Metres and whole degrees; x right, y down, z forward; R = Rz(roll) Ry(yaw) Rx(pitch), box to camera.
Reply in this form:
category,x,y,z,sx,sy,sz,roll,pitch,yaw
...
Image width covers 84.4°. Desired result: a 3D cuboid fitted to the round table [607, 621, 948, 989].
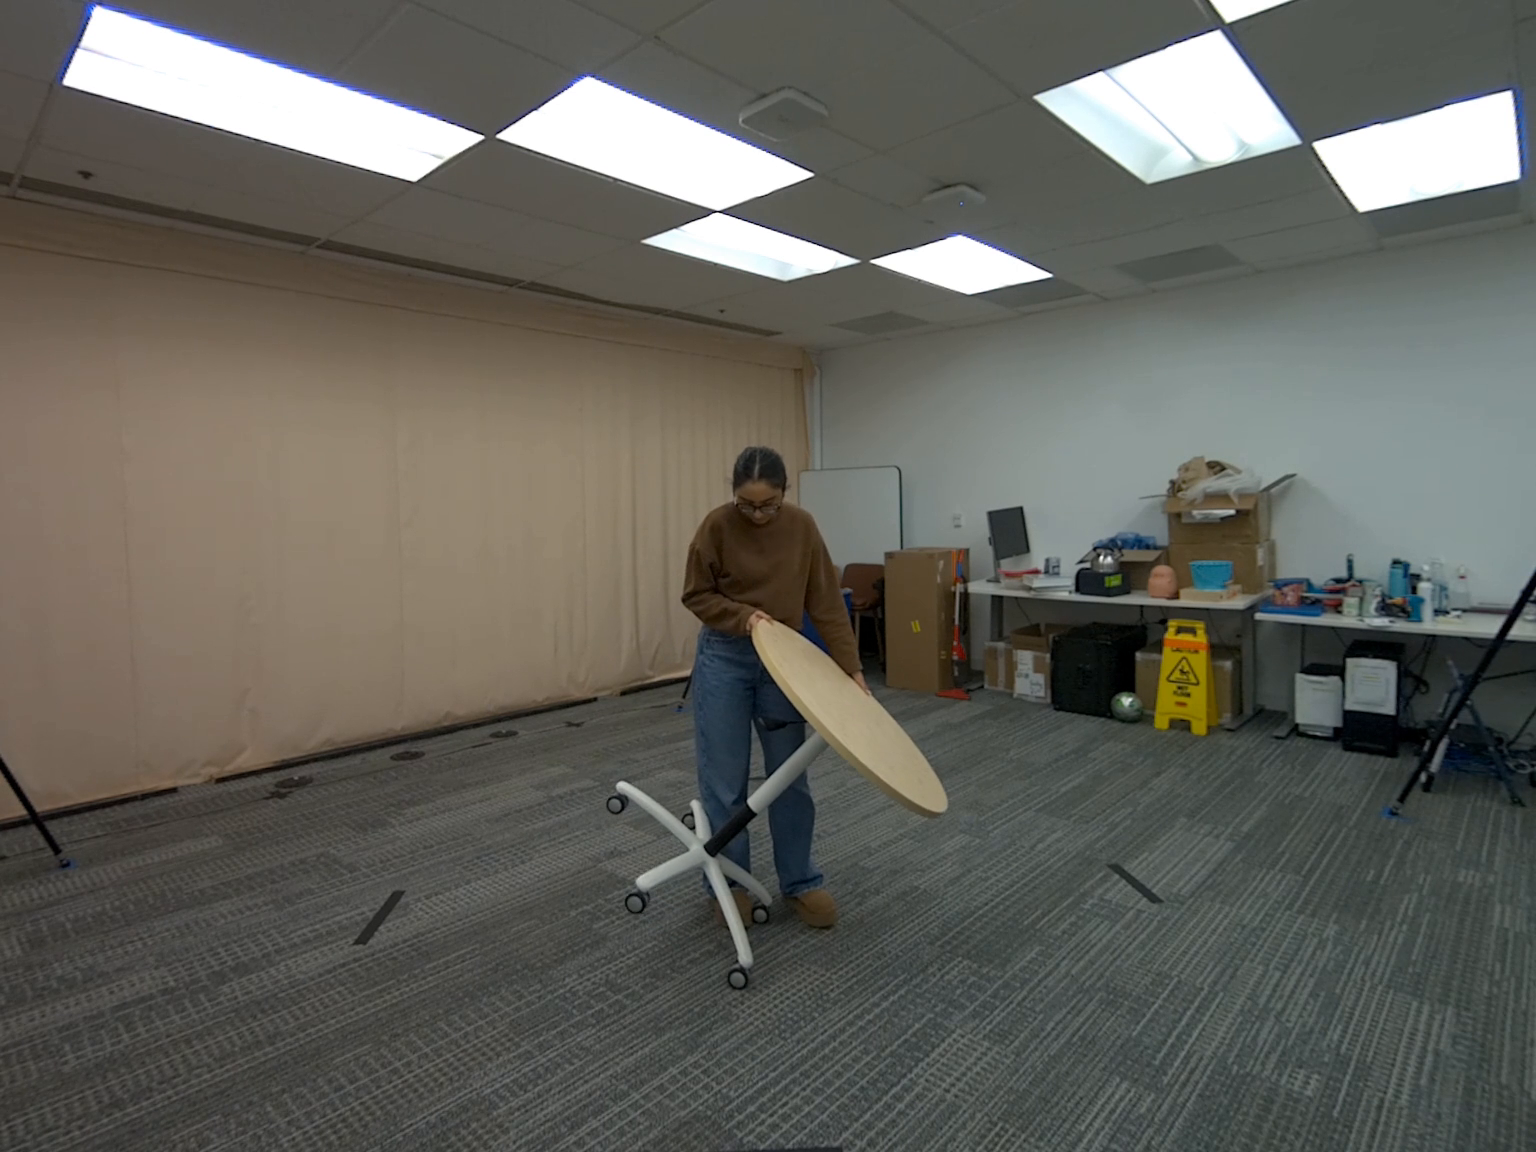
category,x,y,z,sx,sy,sz,roll,pitch,yaw
round table,-0.016,0.688,2.581,0.755,0.796,0.772,41,10,-11
